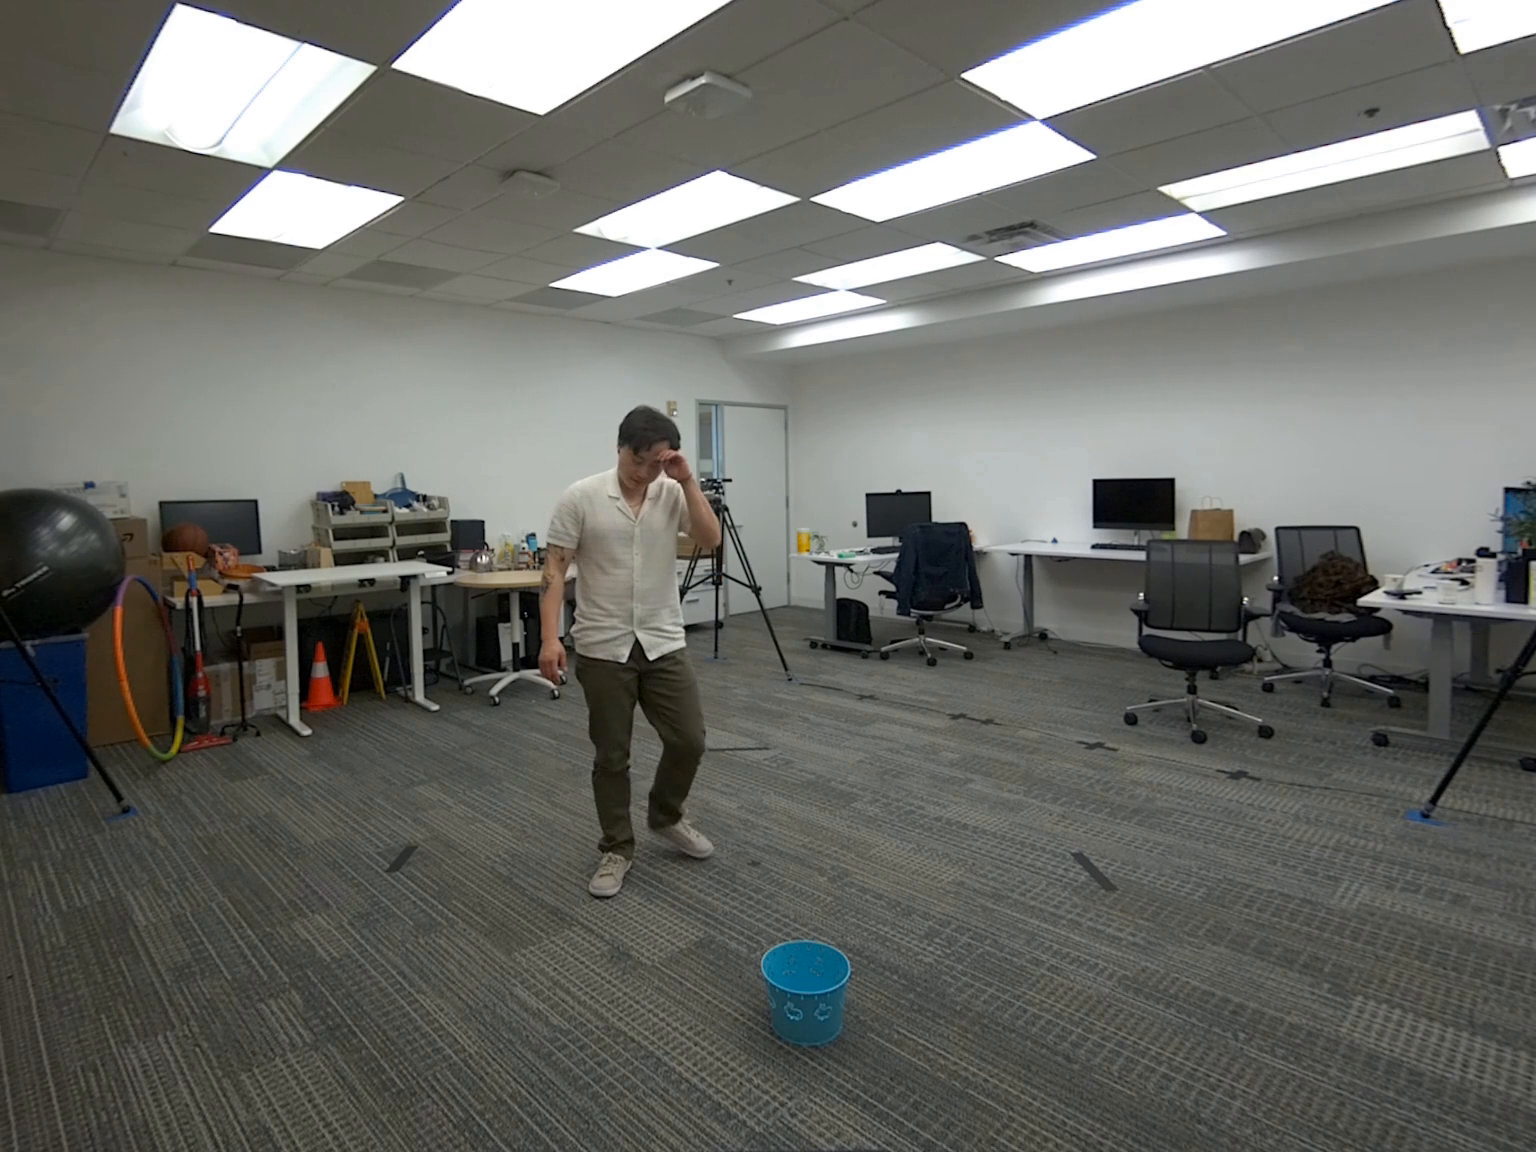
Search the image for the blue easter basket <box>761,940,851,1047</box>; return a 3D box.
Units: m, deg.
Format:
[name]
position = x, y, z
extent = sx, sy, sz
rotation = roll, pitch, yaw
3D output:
[blue easter basket]
position = 0.112, 1.074, 2.197
extent = 0.243, 0.155, 0.245
rotation = -2, 5, -2
